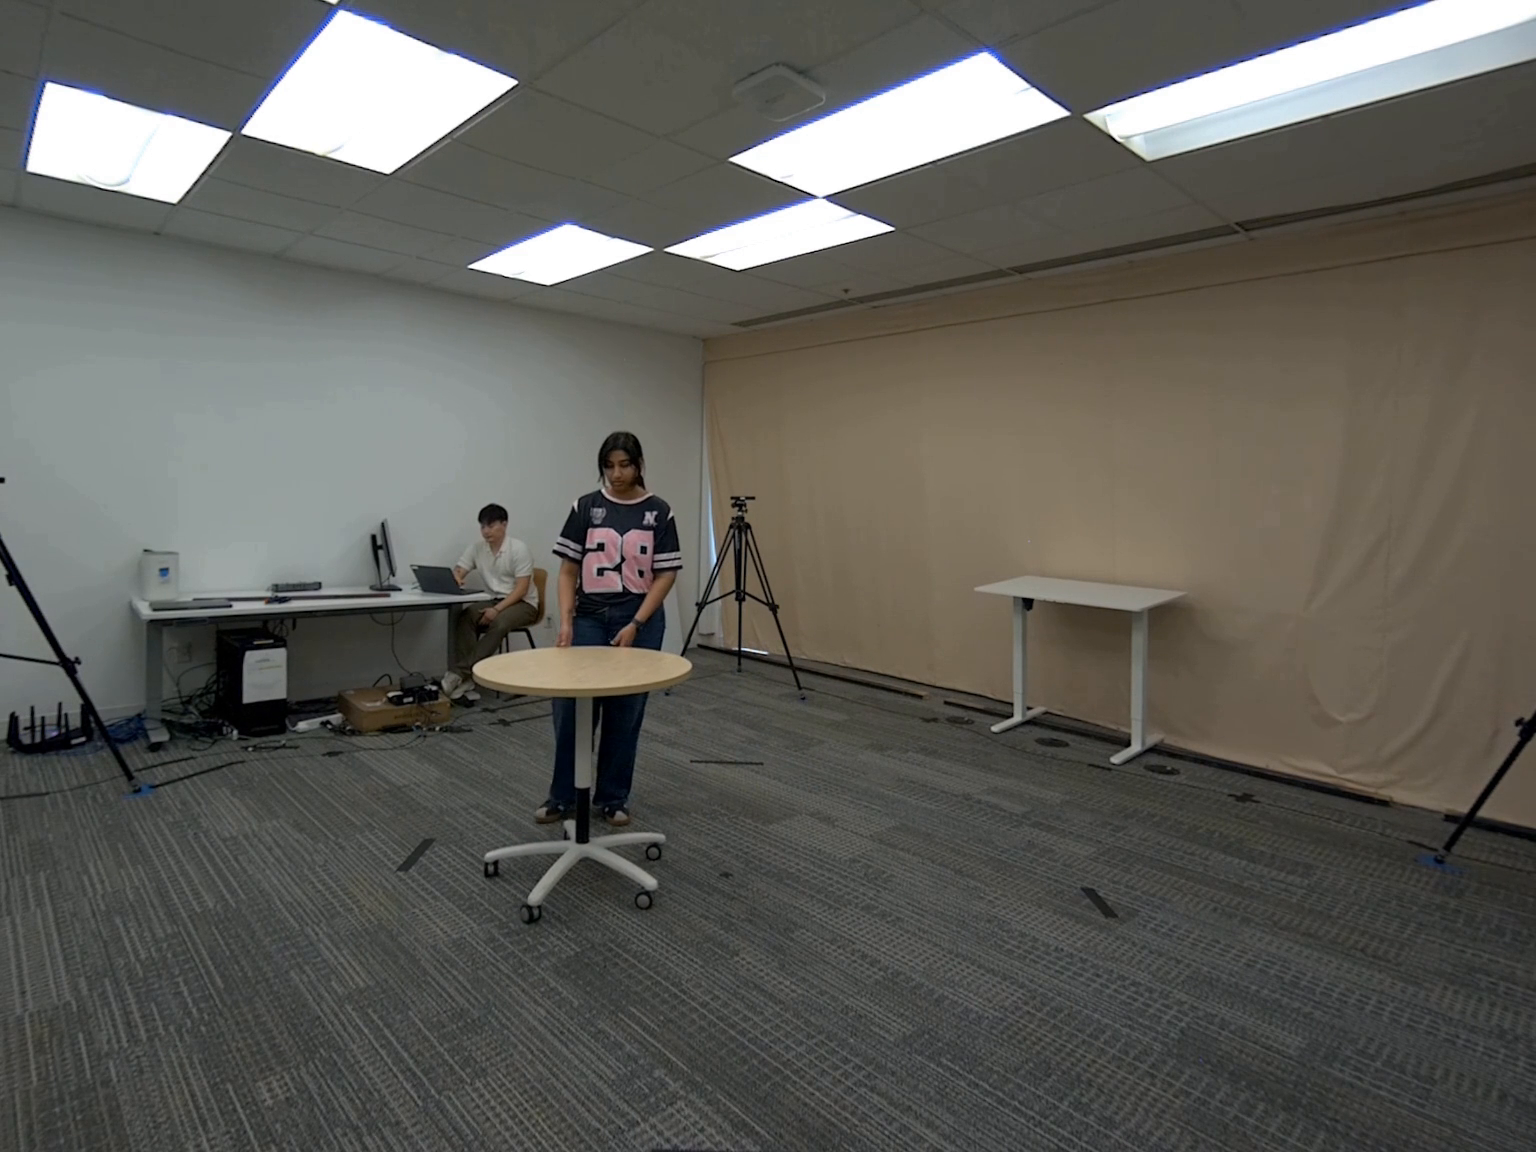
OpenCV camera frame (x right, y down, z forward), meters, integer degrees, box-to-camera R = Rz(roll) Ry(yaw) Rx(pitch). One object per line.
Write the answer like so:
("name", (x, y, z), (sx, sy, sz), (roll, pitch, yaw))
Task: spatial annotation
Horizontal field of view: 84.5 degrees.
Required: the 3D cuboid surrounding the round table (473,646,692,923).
("round table", (-0.663, 0.710, 3.008), (0.784, 0.785, 0.787), (1, 3, -1))
